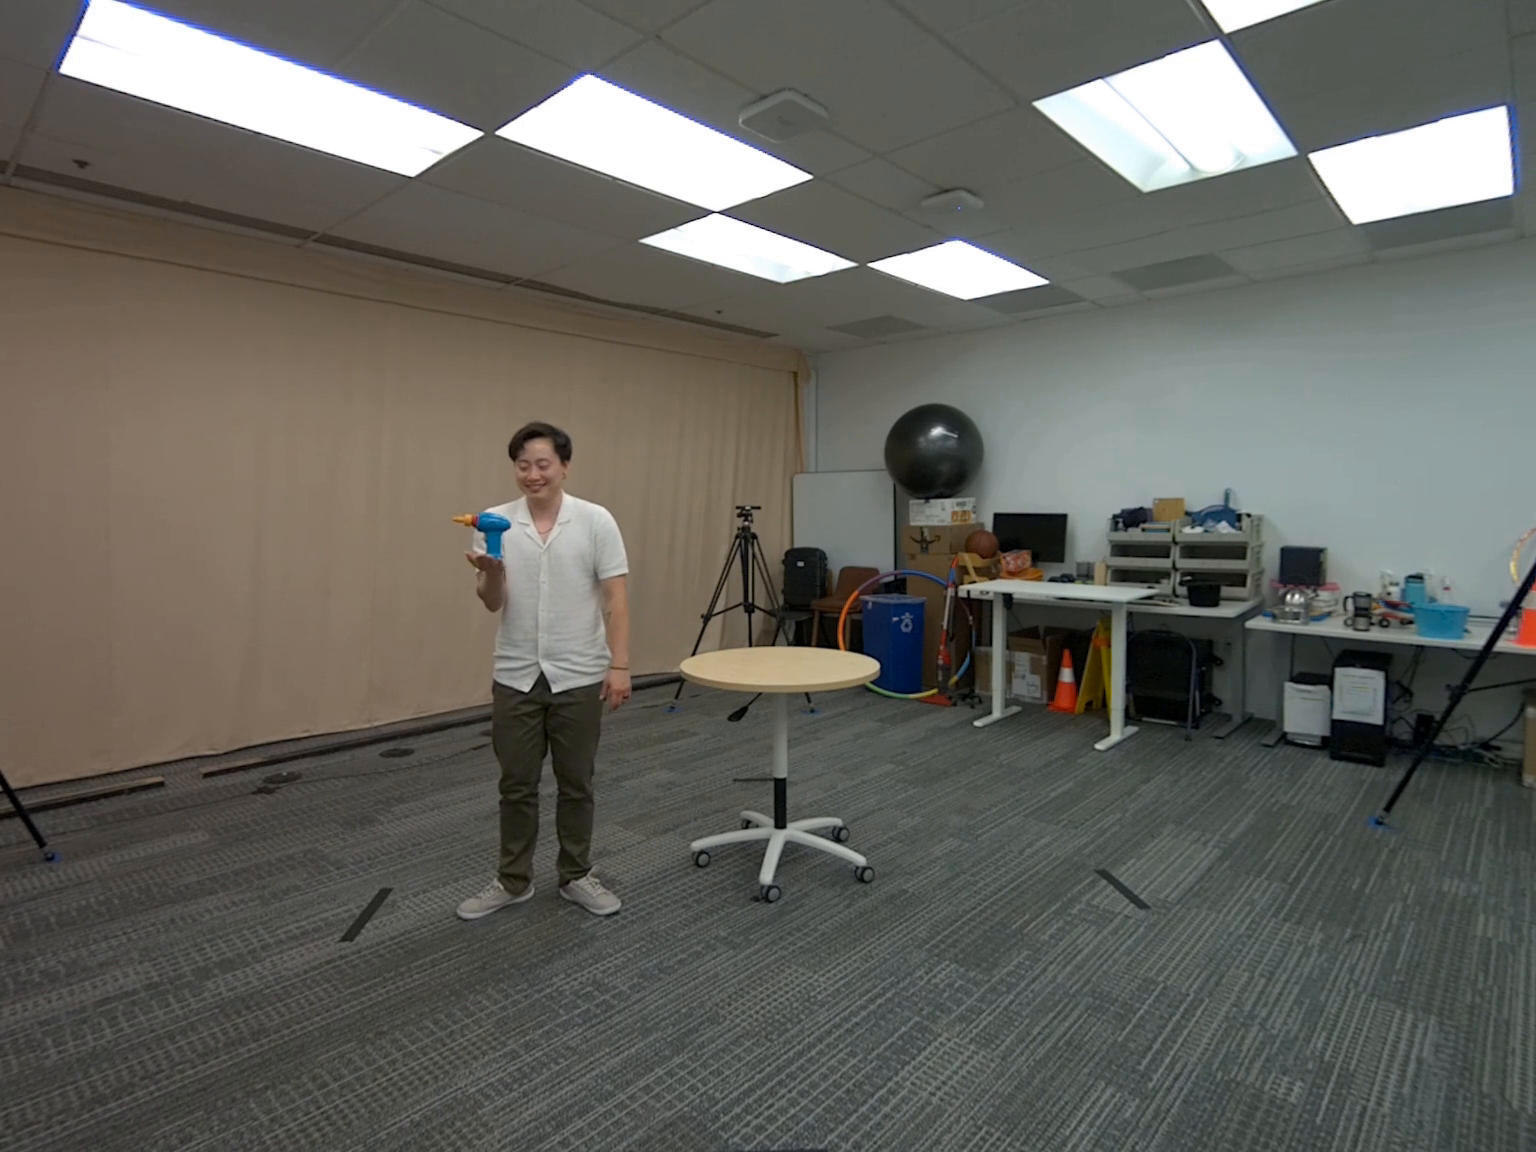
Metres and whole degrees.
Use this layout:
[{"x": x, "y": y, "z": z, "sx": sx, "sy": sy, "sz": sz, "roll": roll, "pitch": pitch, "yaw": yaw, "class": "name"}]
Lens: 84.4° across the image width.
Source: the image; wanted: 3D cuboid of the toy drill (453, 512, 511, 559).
[{"x": -0.862, "y": -0.121, "z": 2.498, "sx": 0.167, "sy": 0.146, "sz": 0.062, "roll": 7, "pitch": 2, "yaw": -13, "class": "toy drill"}]
